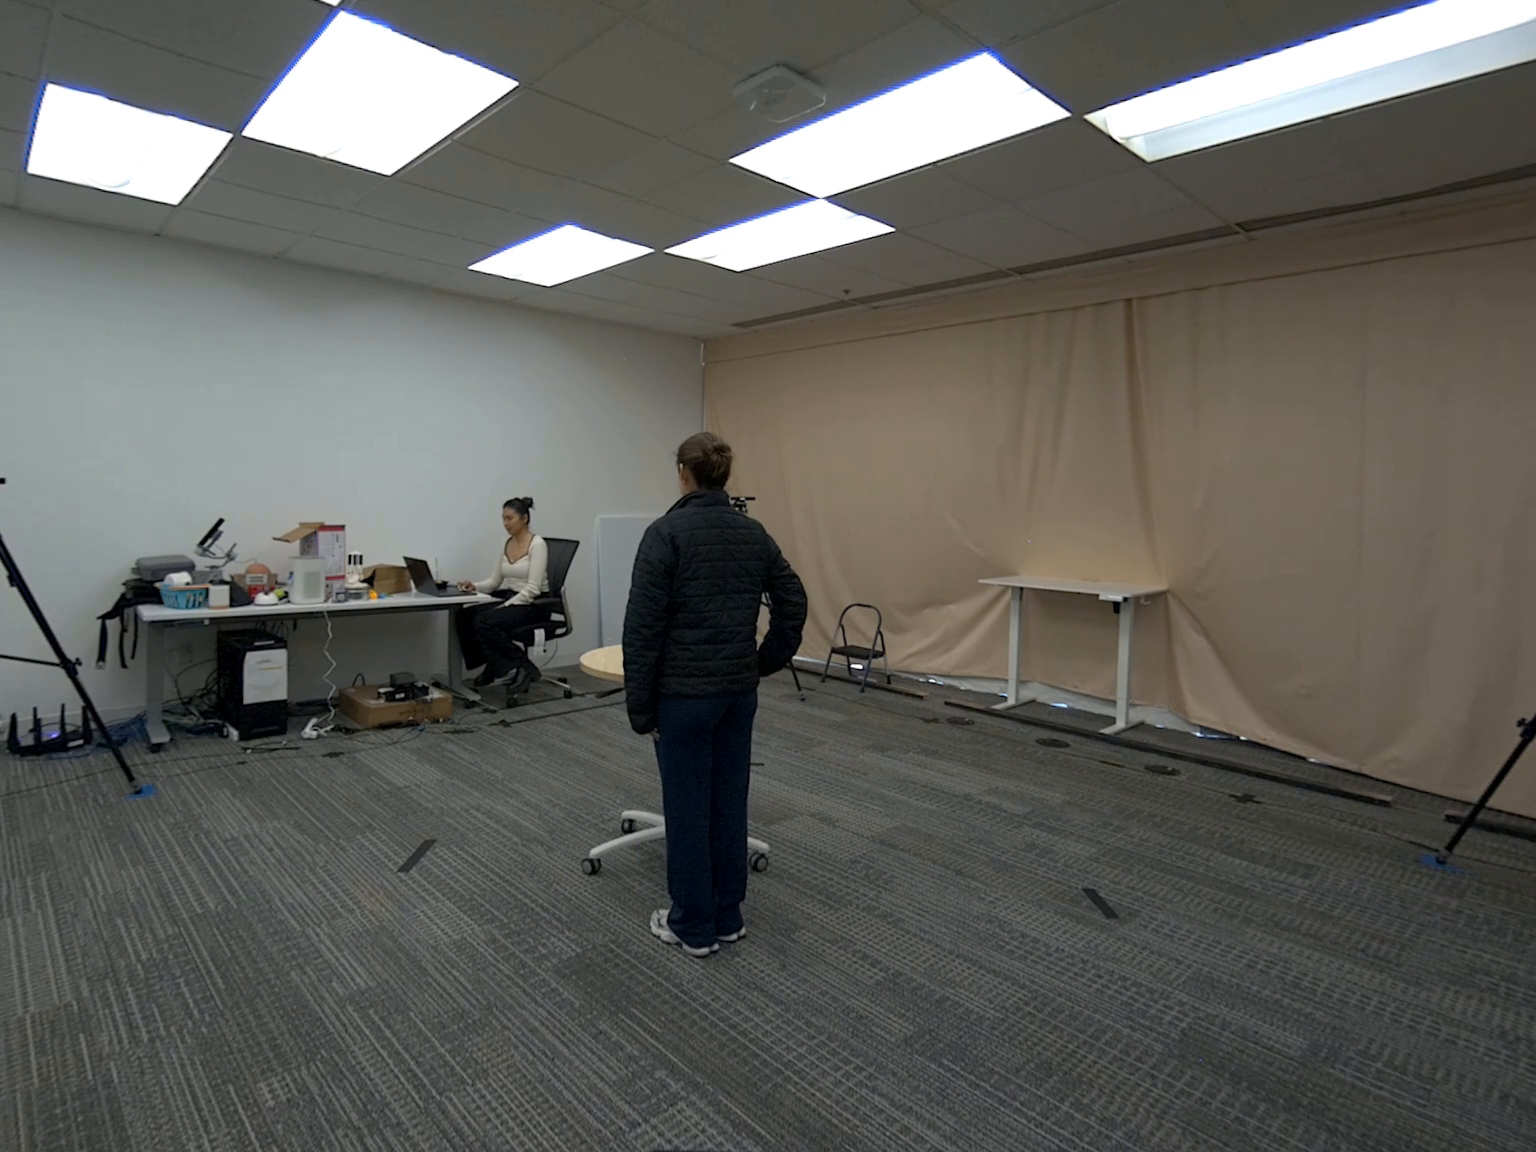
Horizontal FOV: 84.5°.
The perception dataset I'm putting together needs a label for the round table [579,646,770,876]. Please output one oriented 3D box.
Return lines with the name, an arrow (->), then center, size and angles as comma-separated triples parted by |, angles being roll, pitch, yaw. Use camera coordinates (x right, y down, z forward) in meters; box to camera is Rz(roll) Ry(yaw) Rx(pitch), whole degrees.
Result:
round table -> -0.326, 0.704, 3.210 | 0.784, 0.784, 0.788 | 1, 4, -1
